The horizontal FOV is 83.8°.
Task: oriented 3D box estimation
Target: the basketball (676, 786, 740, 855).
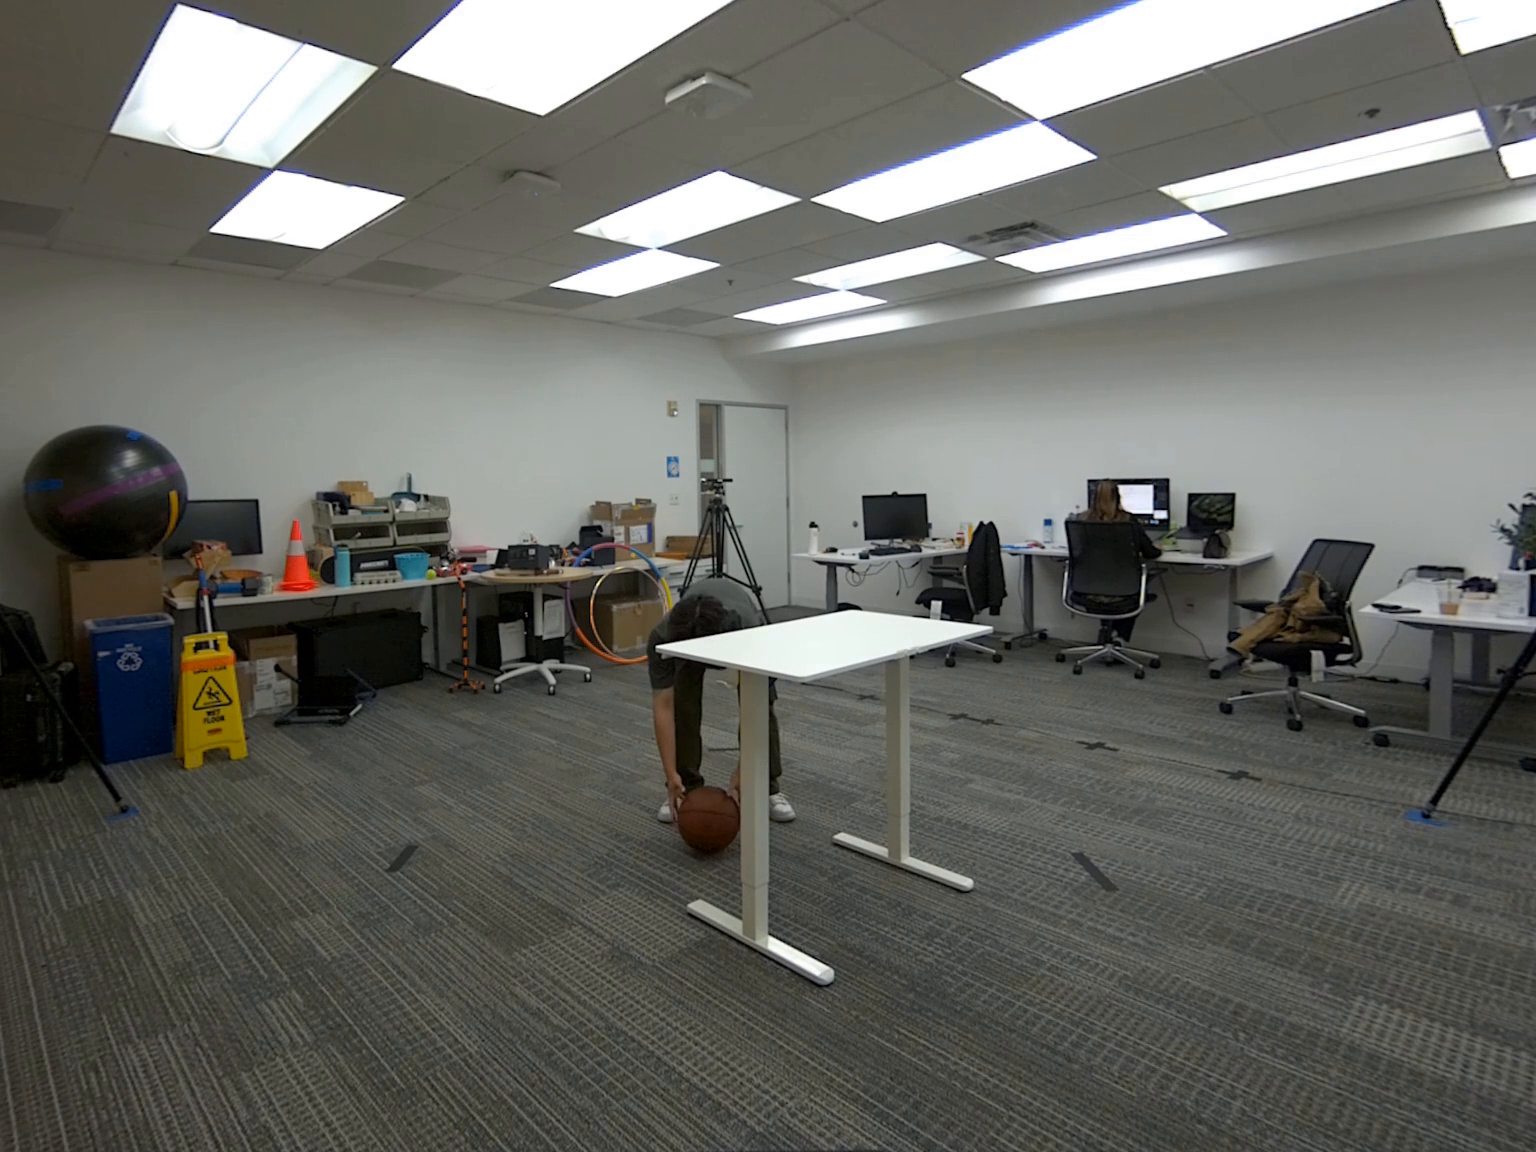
[{"bbox_3d":[-0.223,0.912,3.222,0.236,0.235,0.237,-1,5,-2],"label":"basketball"}]
